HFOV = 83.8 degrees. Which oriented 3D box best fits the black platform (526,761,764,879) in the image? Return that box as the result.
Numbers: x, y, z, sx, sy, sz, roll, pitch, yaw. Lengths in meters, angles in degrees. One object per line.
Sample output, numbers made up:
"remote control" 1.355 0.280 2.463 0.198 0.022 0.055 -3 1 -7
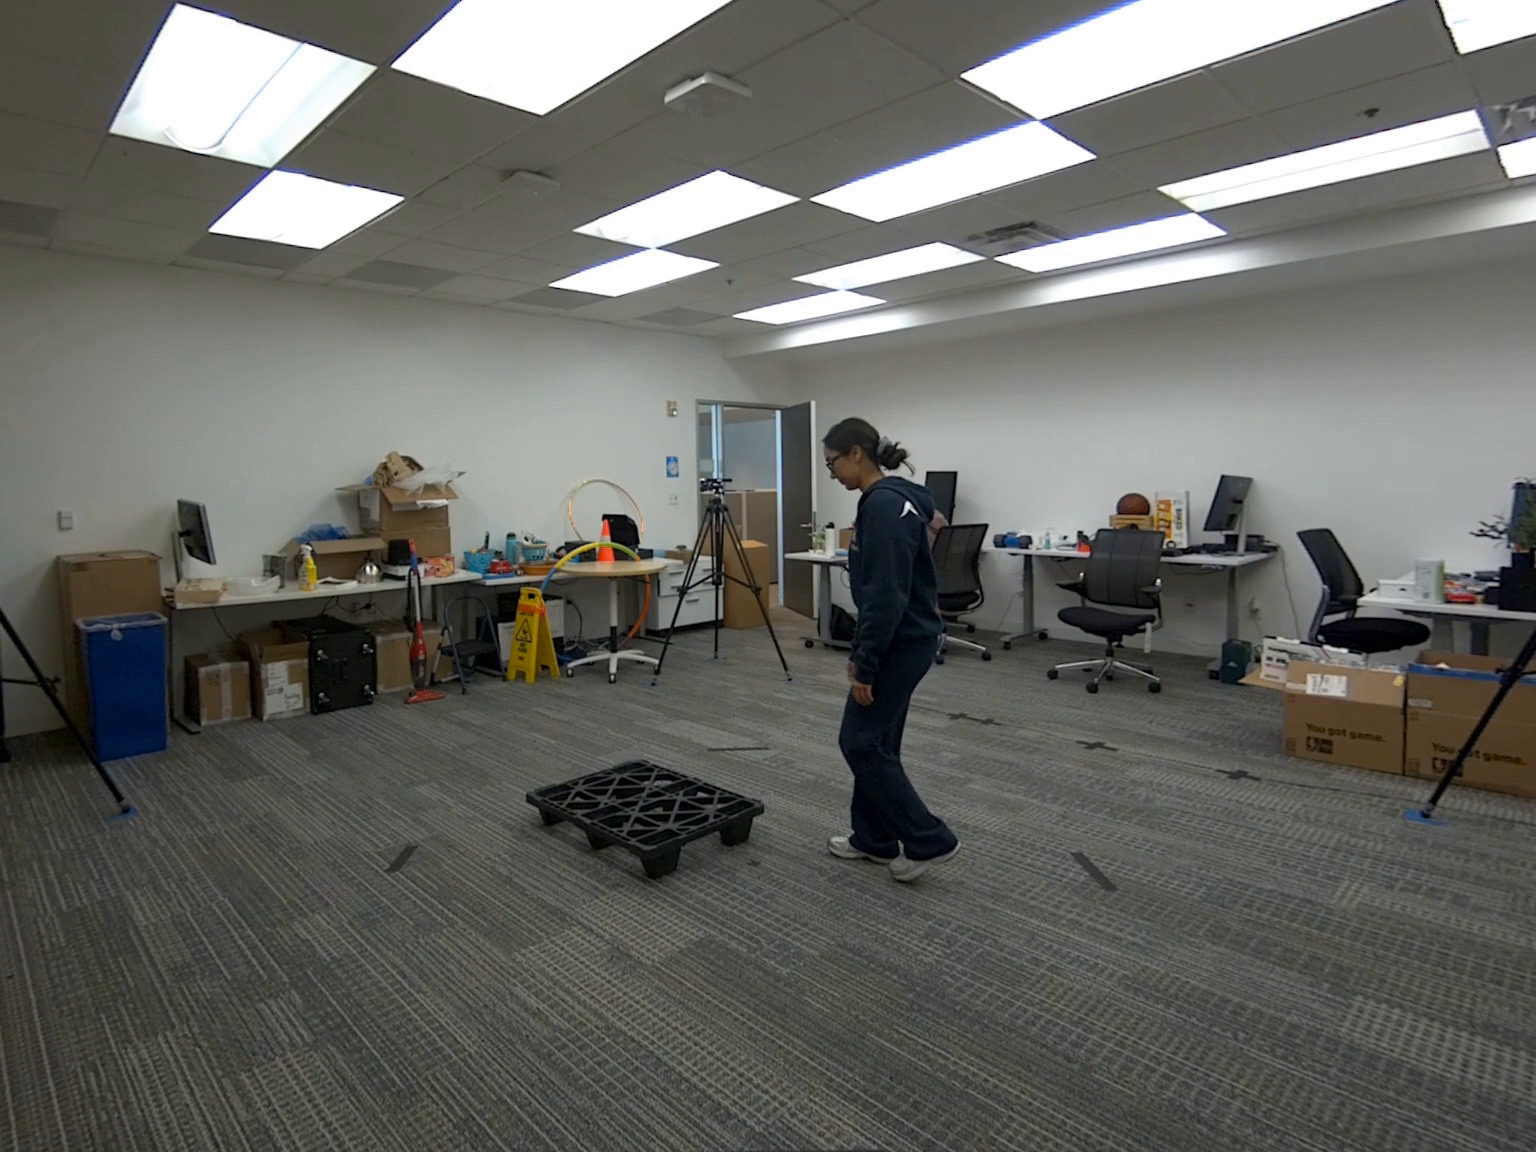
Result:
"black platform" -0.494 0.954 3.404 0.830 0.142 0.590 5 9 45
